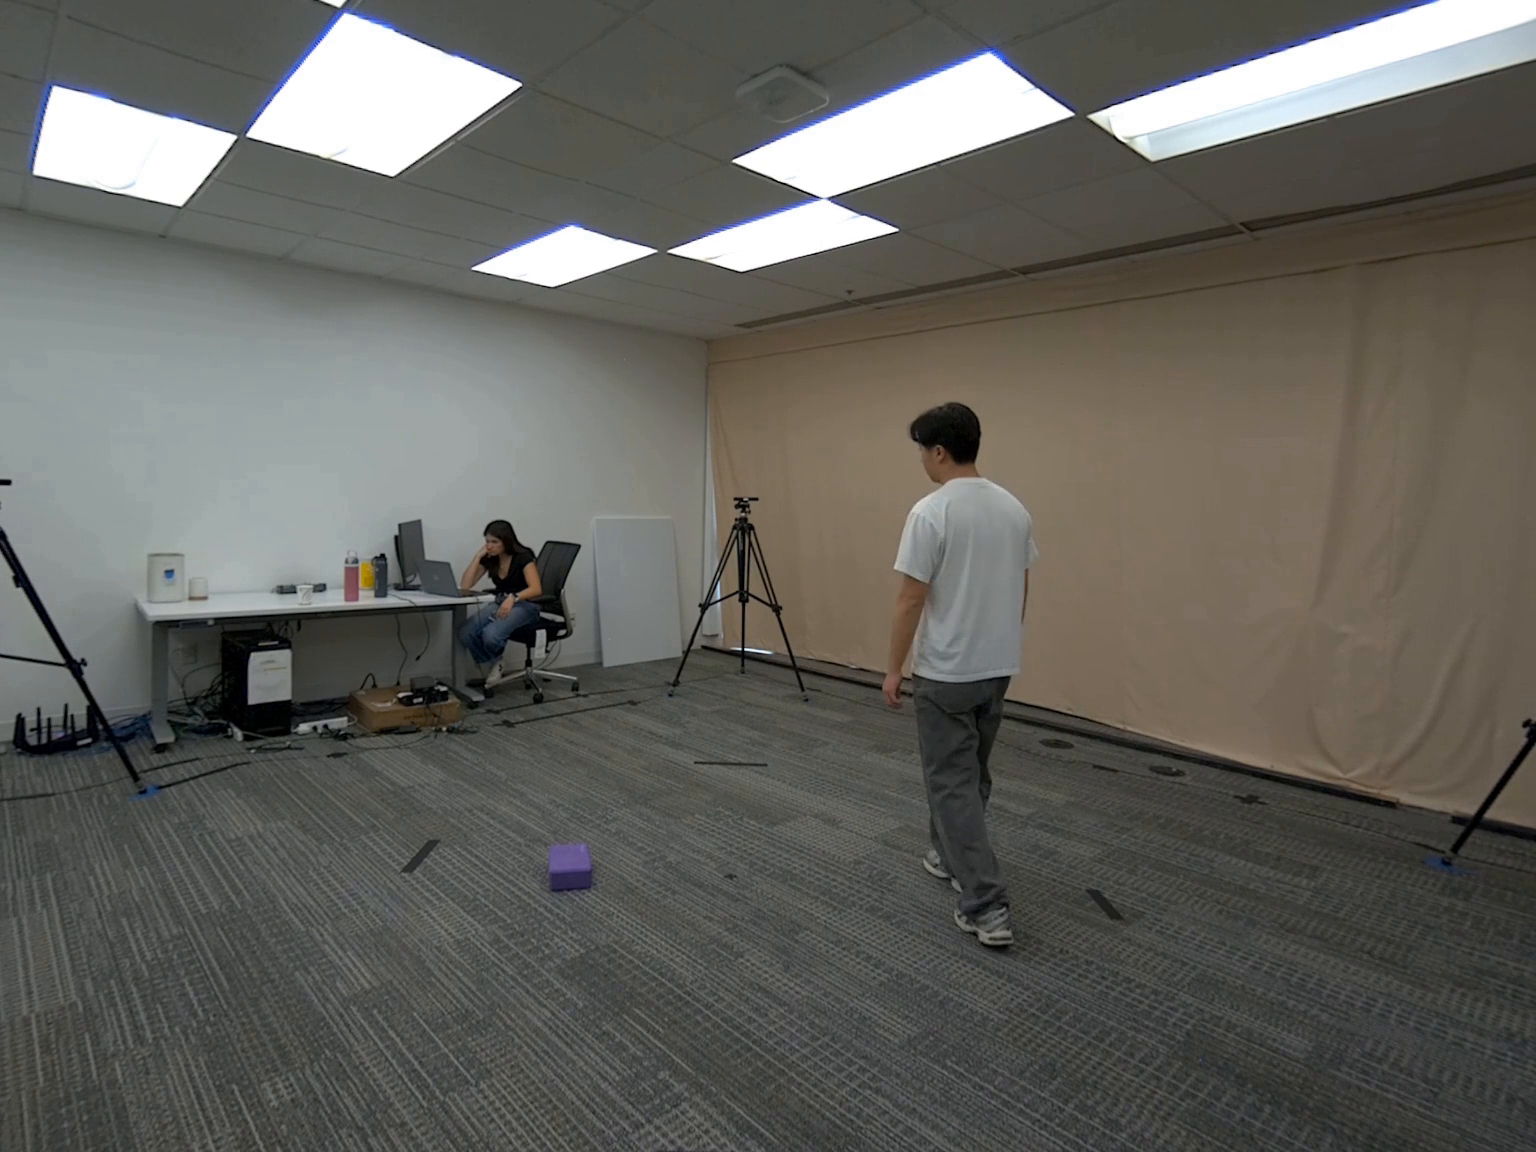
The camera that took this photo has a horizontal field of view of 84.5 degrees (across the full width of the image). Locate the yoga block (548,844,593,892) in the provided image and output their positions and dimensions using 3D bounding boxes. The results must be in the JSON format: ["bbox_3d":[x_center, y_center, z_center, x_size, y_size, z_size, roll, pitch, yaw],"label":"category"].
[{"bbox_3d":[-0.725,1.053,3.074,0.147,0.076,0.233,1,6,-15],"label":"yoga block"}]
